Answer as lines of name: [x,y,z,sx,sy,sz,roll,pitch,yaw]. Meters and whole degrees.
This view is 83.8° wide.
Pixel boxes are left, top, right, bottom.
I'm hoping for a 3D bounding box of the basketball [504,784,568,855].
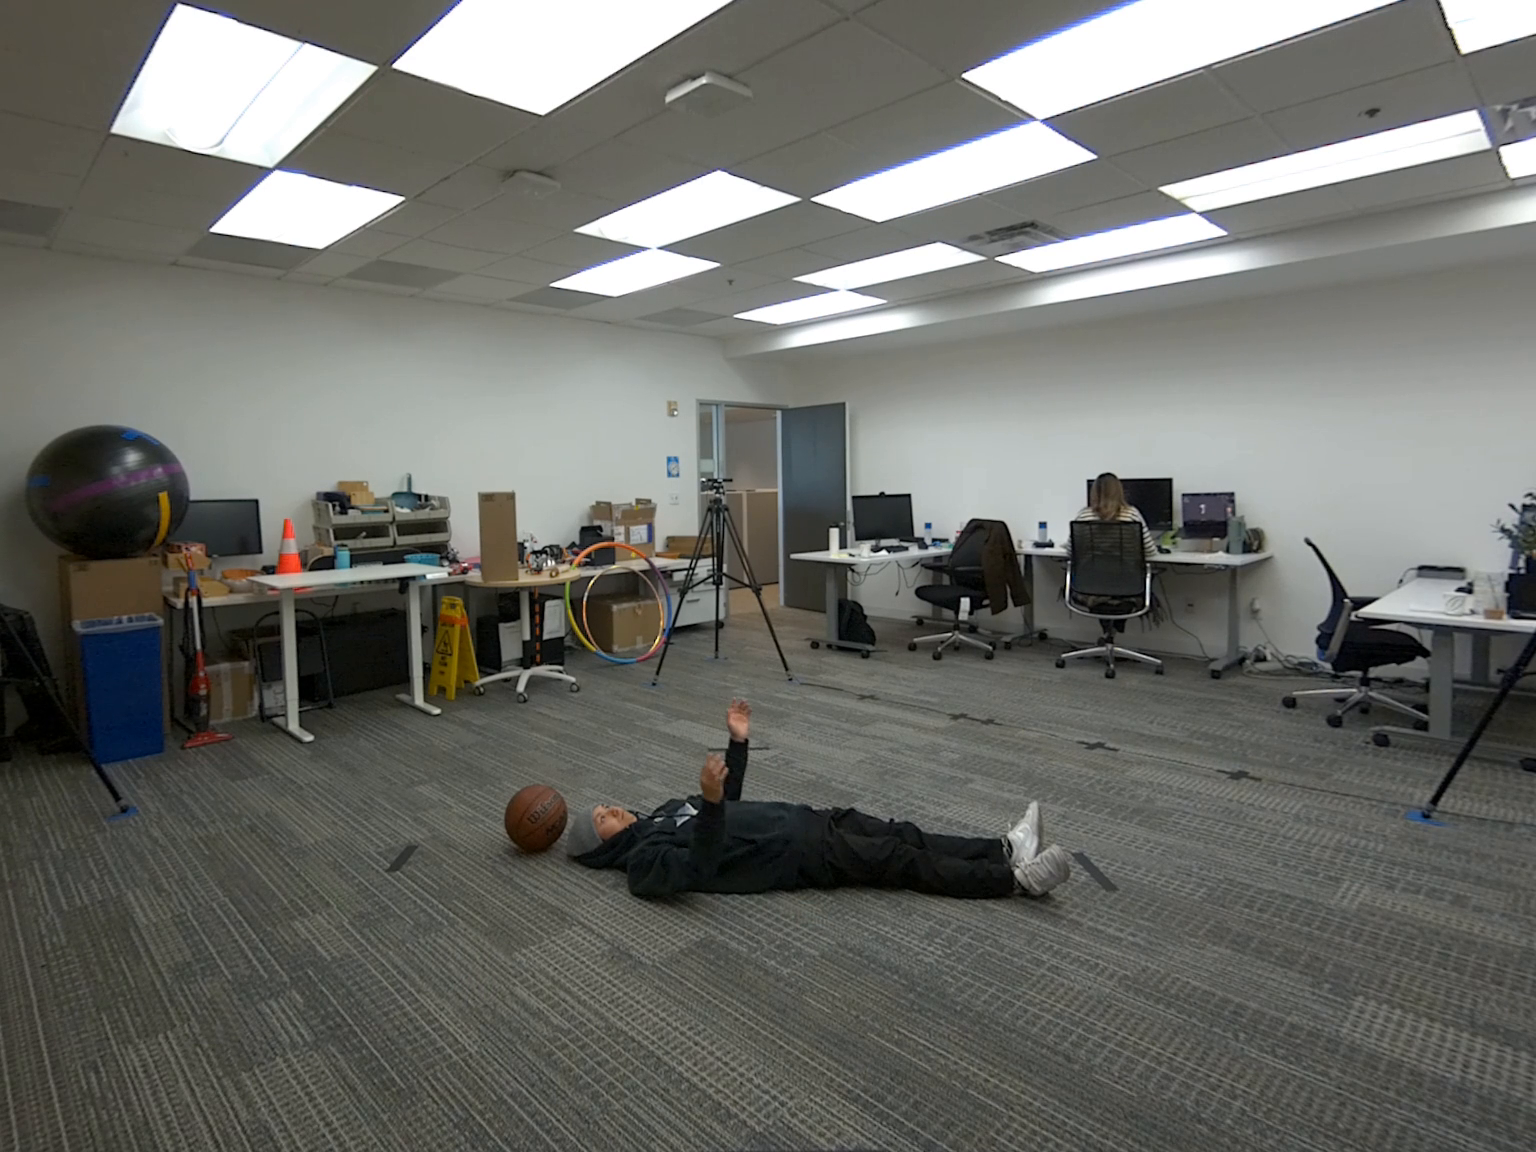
basketball: [-0.880,0.919,3.269,0.236,0.235,0.237,-1,5,-2]
